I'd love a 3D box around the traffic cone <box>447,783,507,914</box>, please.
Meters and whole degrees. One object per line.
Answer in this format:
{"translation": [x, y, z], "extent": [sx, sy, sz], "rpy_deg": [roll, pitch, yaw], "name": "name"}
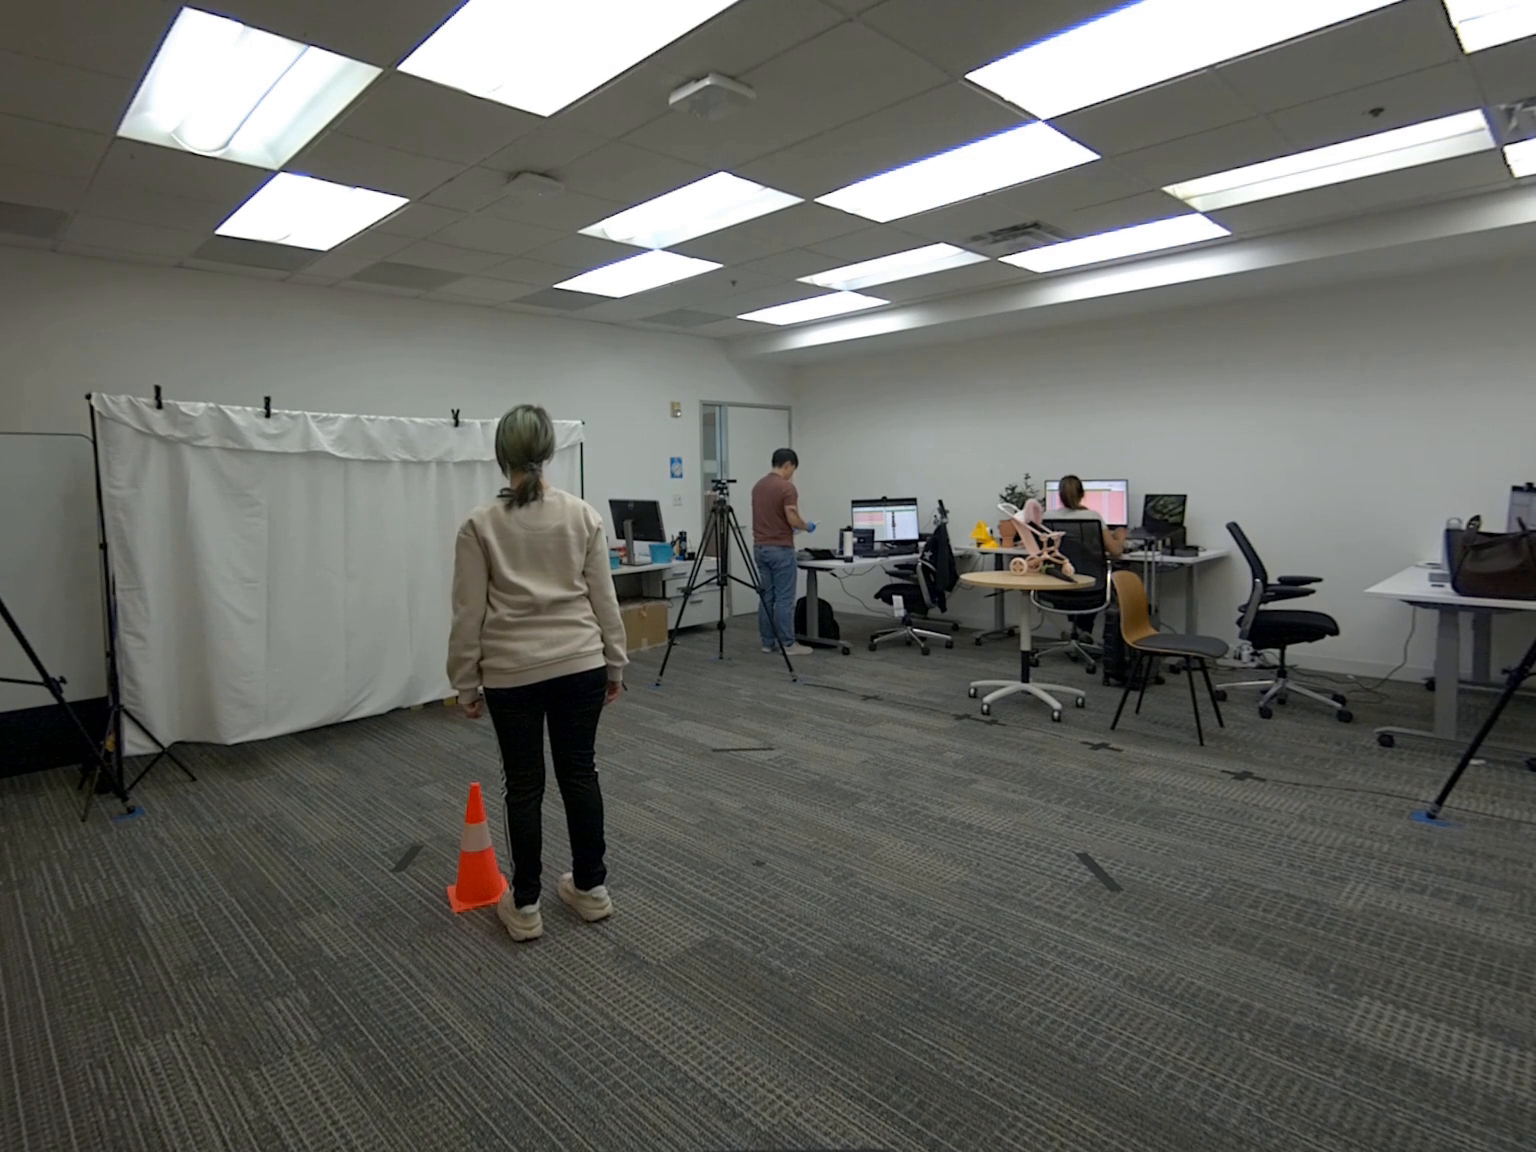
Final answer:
{"translation": [-0.989, 0.903, 2.916], "extent": [0.202, 0.382, 0.207], "rpy_deg": [-2, 5, -18], "name": "traffic cone"}
